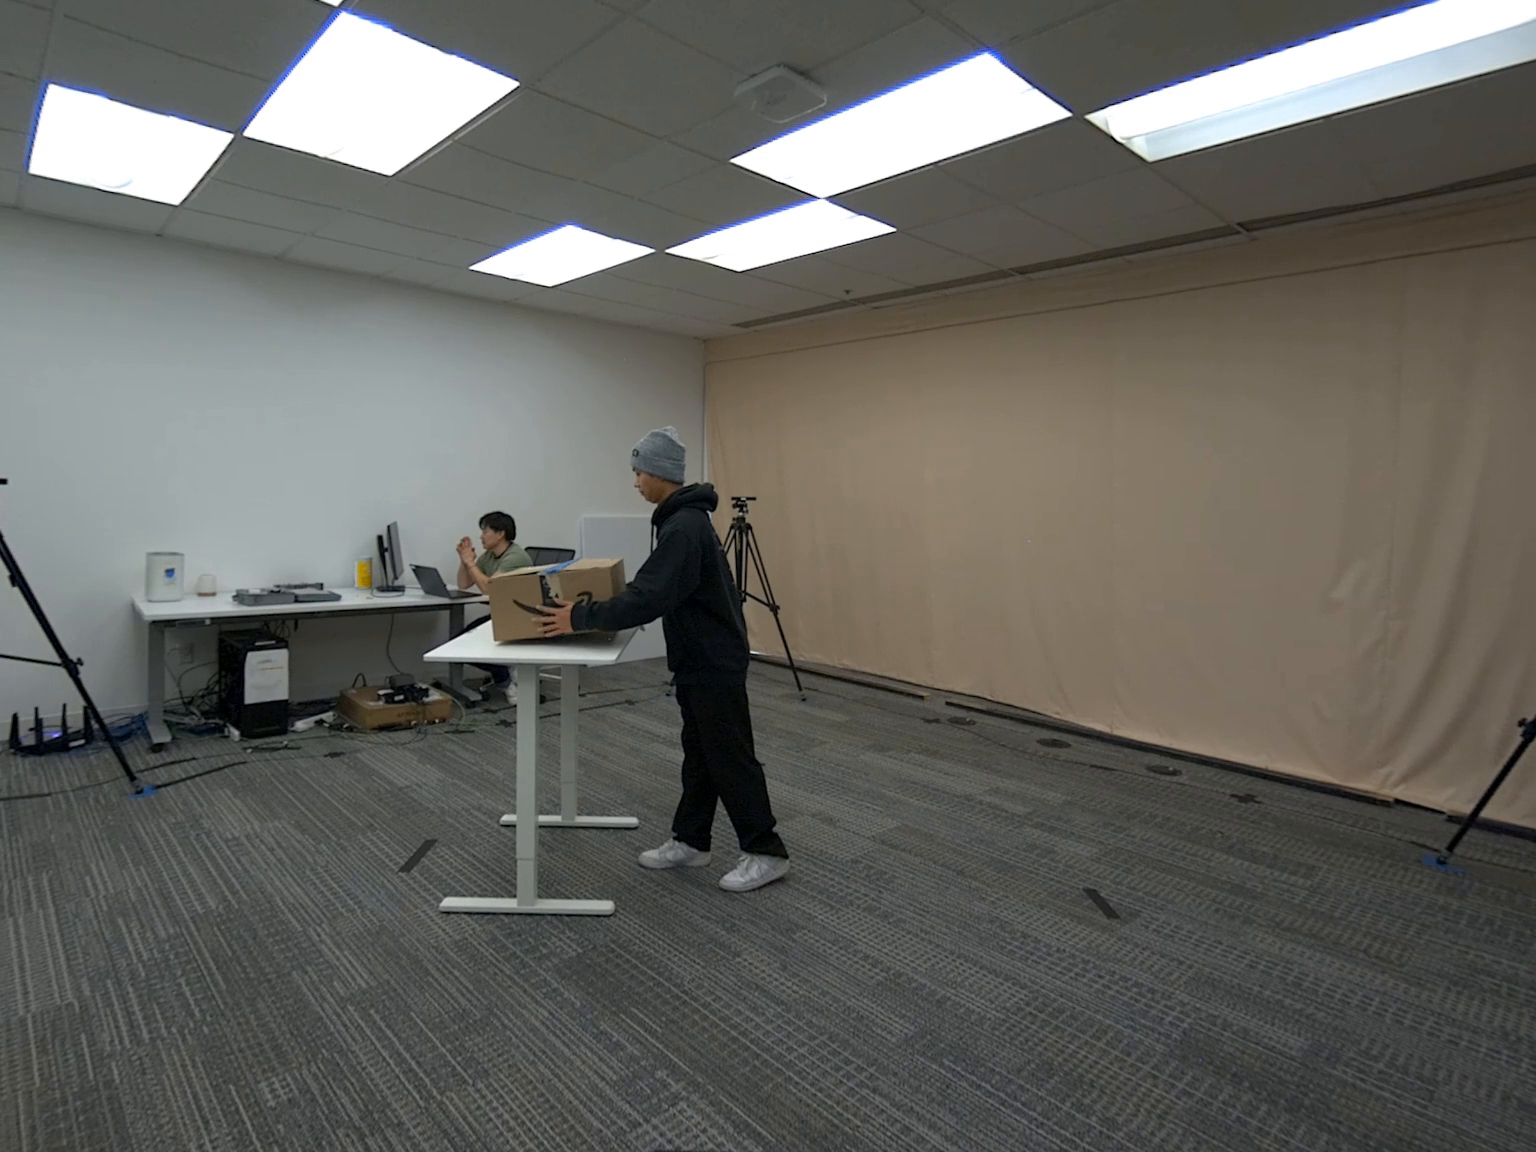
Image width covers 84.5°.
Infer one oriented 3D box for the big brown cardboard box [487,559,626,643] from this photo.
[{"bbox_3d":[-0.745,0.072,3.109,0.416,0.232,0.592,-6,5,-4],"label":"big brown cardboard box"}]
